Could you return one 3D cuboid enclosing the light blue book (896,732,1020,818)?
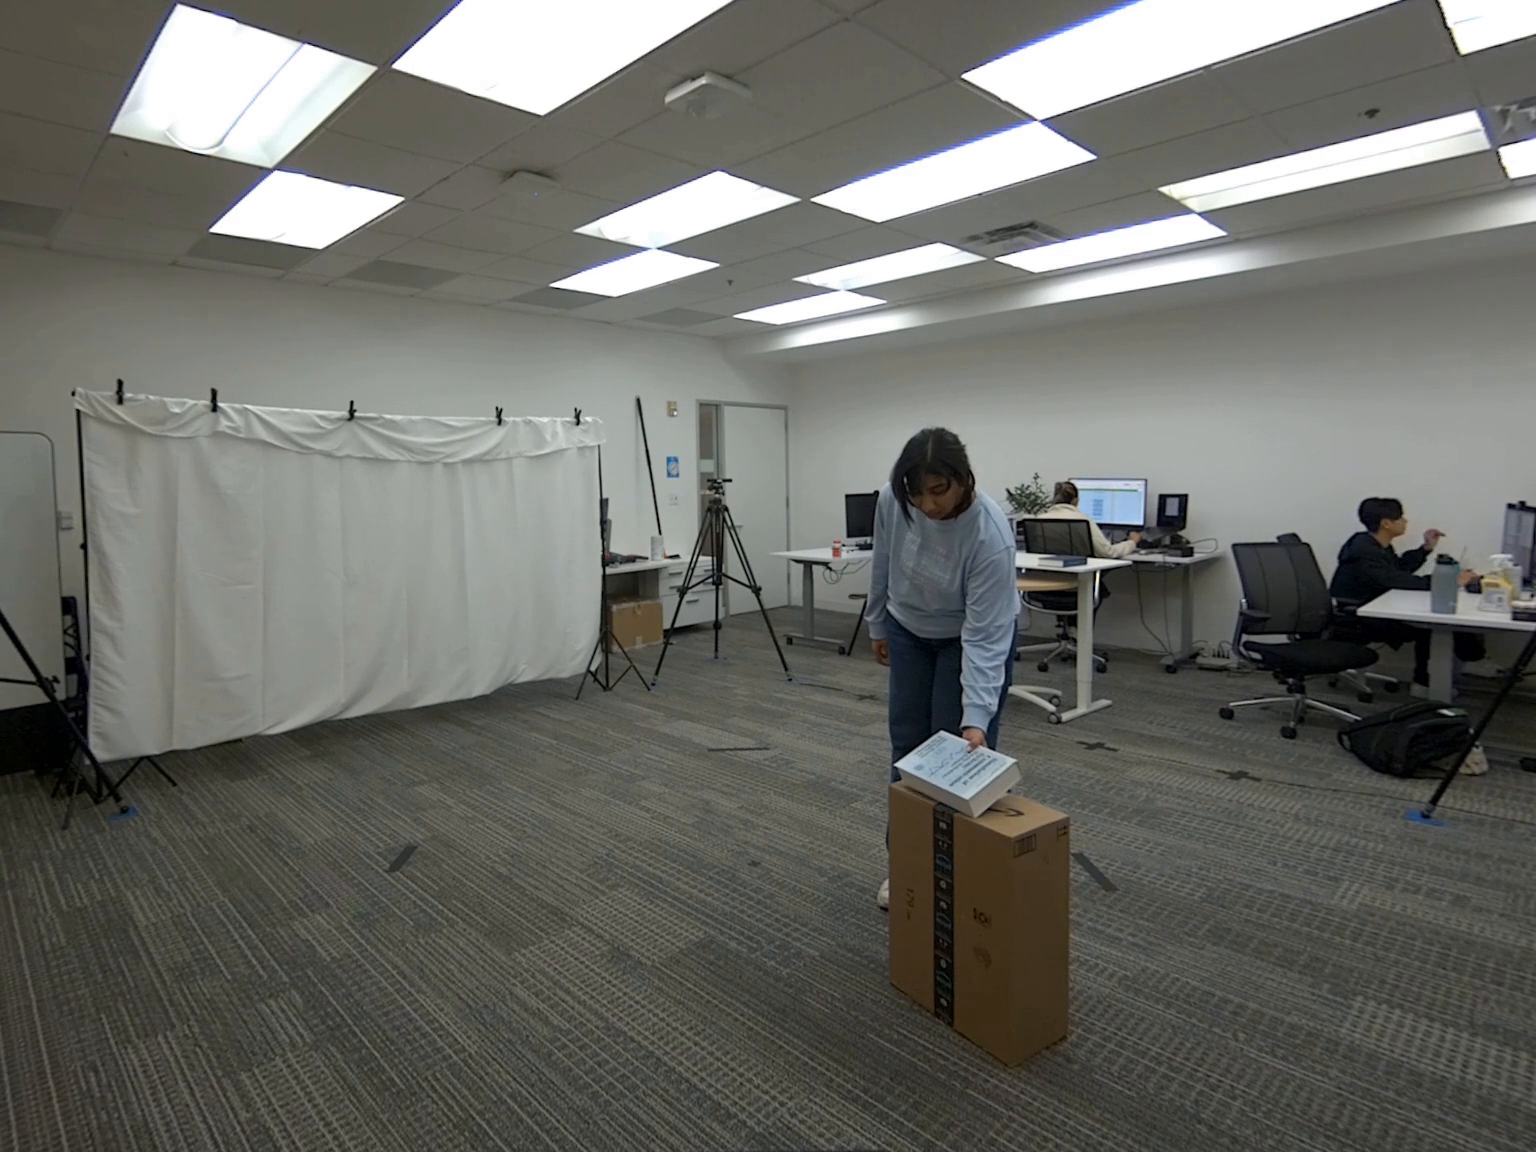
[{"bbox_3d":[0.494,0.510,2.221,0.189,0.058,0.269,-29,22,-26],"label":"light blue book"}]
